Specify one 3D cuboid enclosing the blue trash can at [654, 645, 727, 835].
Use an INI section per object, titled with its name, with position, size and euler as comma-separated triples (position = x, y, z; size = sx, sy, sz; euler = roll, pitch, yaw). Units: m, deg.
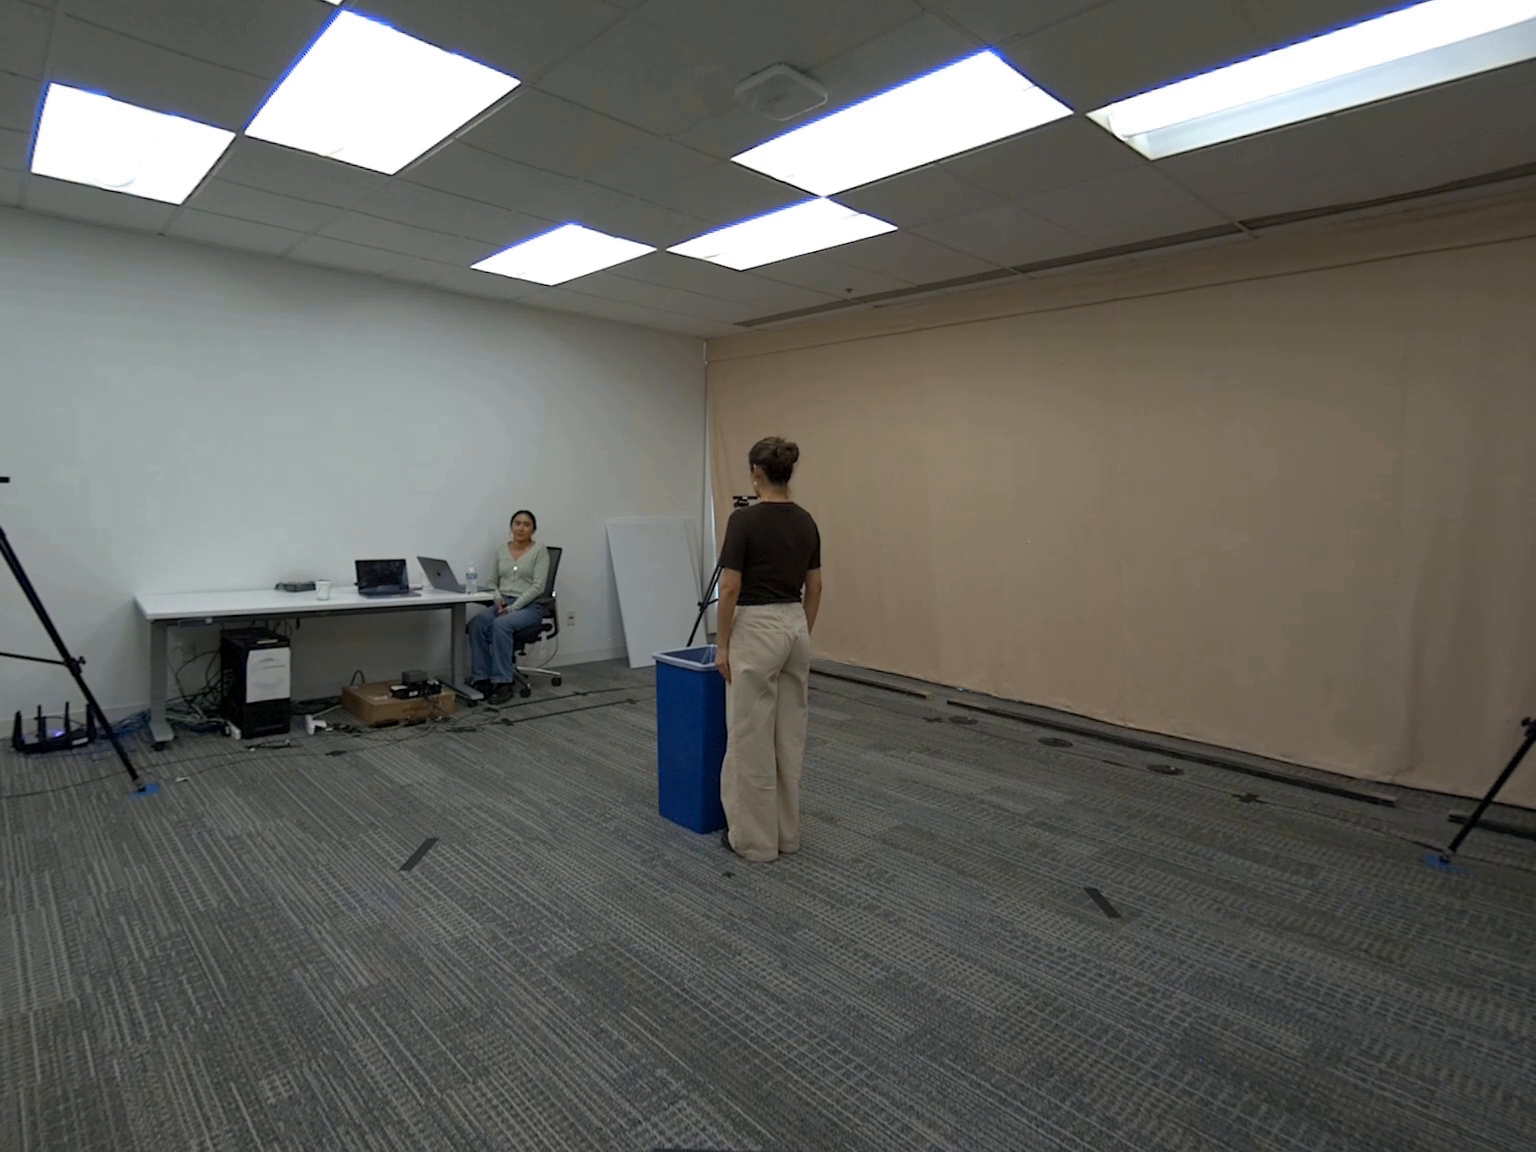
[blue trash can]
position = -0.280, 0.693, 3.663
size = 0.369, 0.712, 0.383
euler = -2, 5, -45
